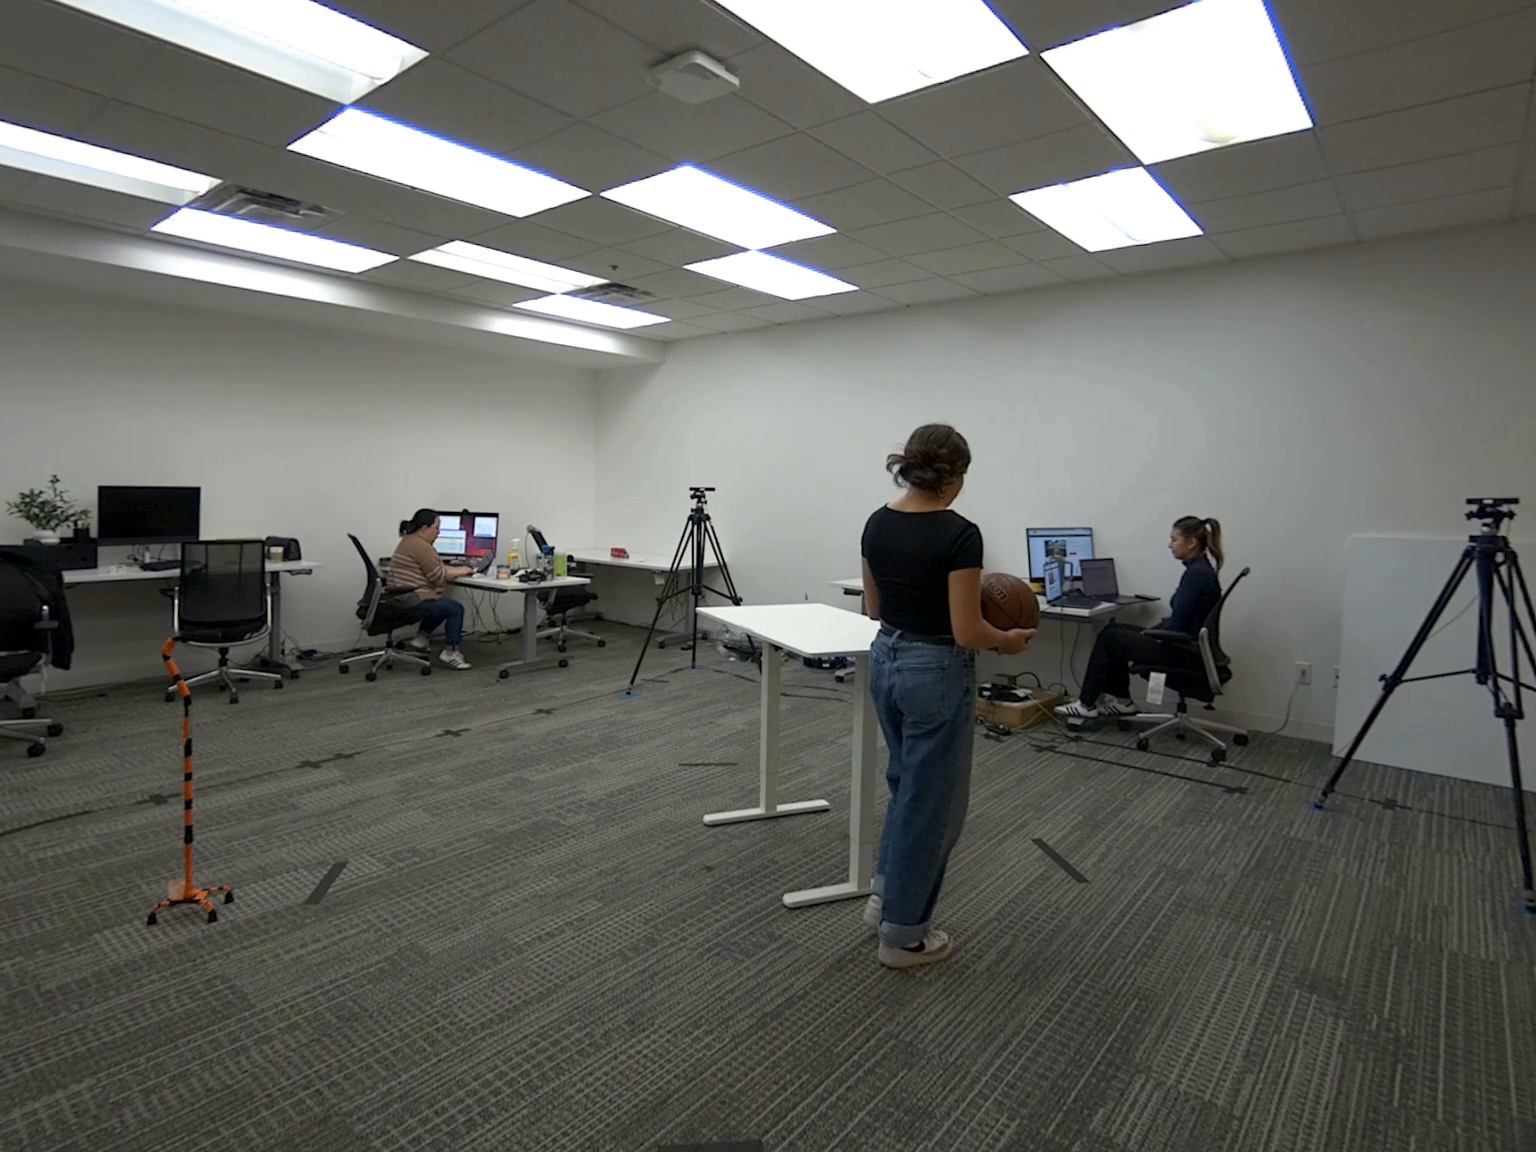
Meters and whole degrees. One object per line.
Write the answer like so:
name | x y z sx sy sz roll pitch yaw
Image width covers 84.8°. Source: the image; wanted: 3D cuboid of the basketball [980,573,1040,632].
basketball | 0.689 0.106 2.577 0.235 0.235 0.237 1 4 -2
